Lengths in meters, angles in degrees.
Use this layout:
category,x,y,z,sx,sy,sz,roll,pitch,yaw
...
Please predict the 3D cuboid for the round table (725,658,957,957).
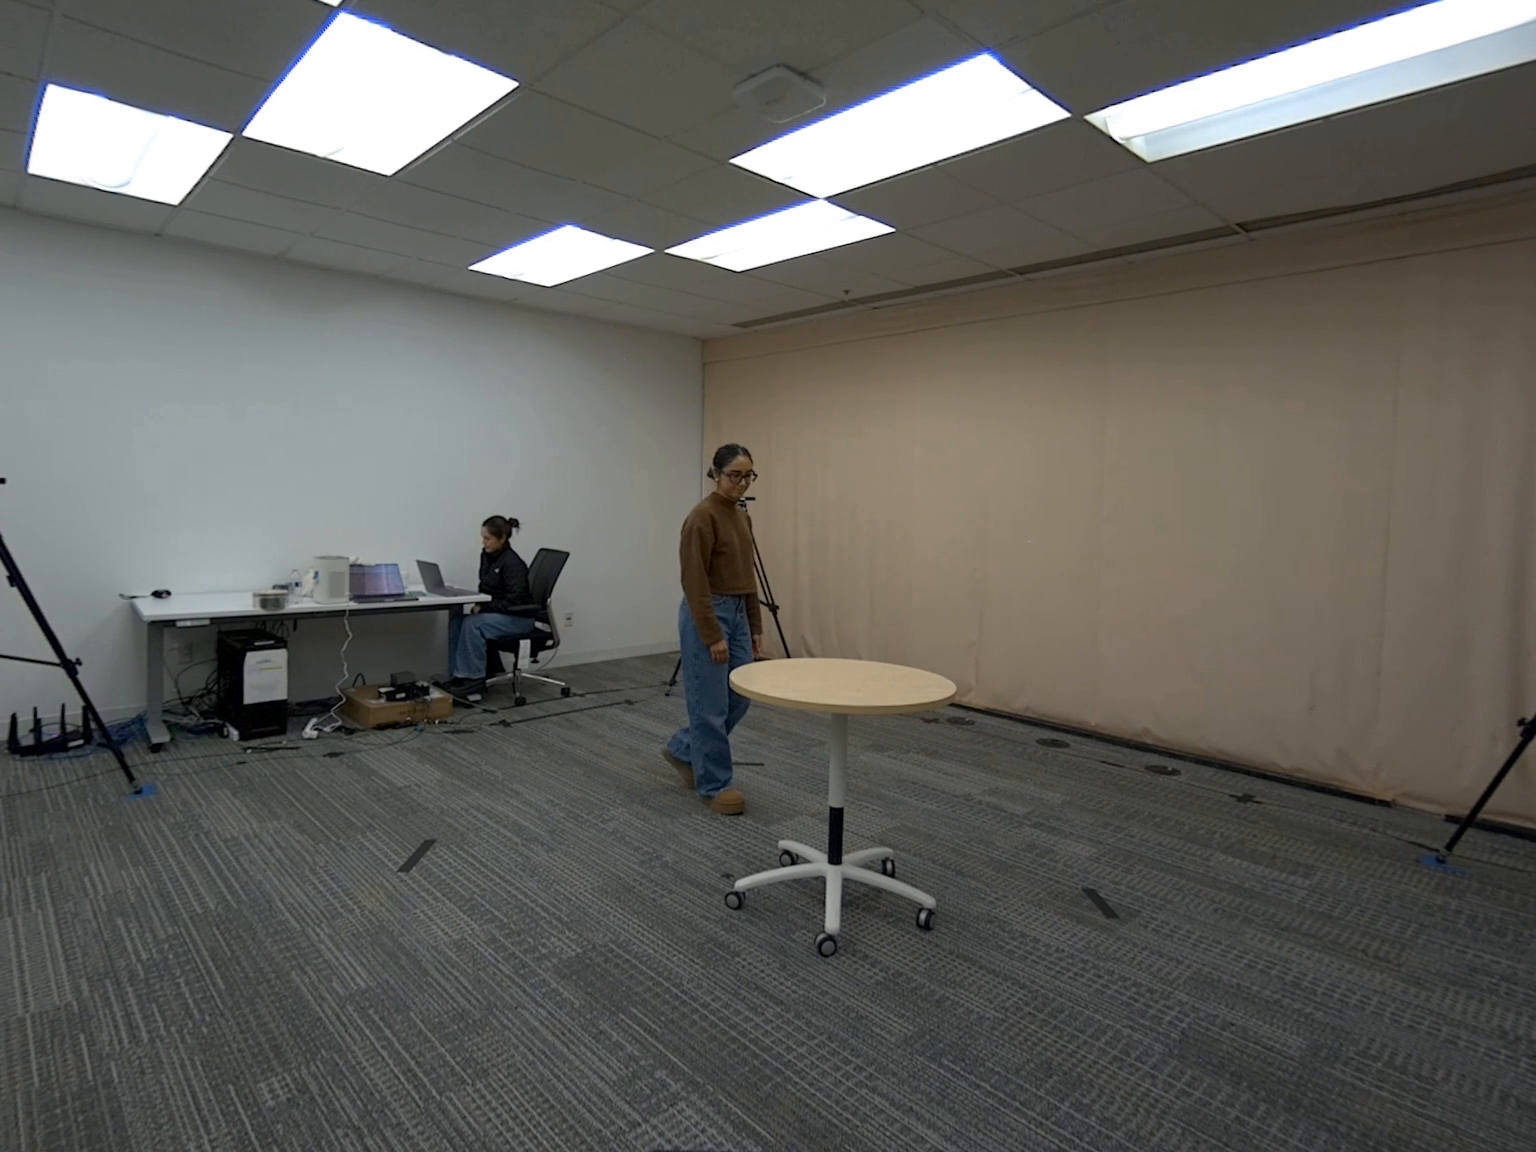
category,x,y,z,sx,sy,sz,roll,pitch,yaw
round table,0.241,0.744,2.886,0.784,0.784,0.788,2,4,-1
